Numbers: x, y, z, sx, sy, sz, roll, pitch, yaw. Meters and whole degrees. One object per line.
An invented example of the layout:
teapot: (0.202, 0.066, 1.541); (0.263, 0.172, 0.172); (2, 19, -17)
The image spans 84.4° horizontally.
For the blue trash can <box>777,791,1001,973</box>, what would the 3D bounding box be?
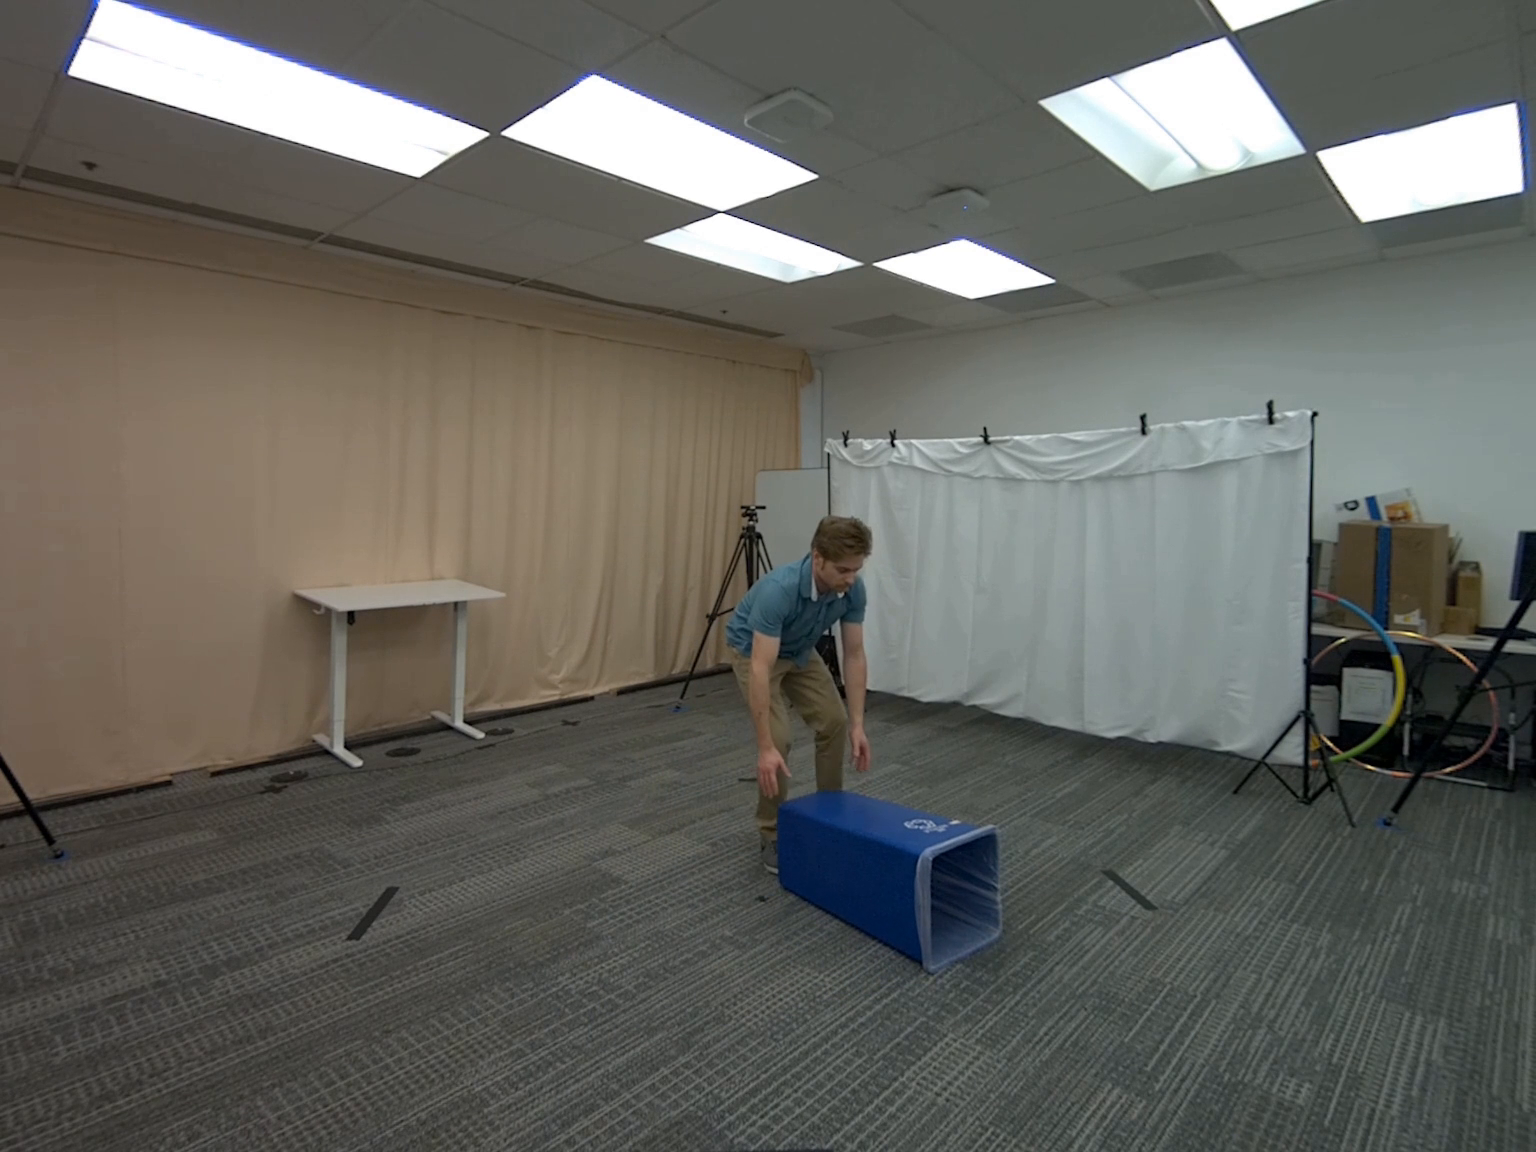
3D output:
blue trash can: (0.381, 0.986, 2.868); (0.363, 0.378, 0.736); (-3, 2, -40)
